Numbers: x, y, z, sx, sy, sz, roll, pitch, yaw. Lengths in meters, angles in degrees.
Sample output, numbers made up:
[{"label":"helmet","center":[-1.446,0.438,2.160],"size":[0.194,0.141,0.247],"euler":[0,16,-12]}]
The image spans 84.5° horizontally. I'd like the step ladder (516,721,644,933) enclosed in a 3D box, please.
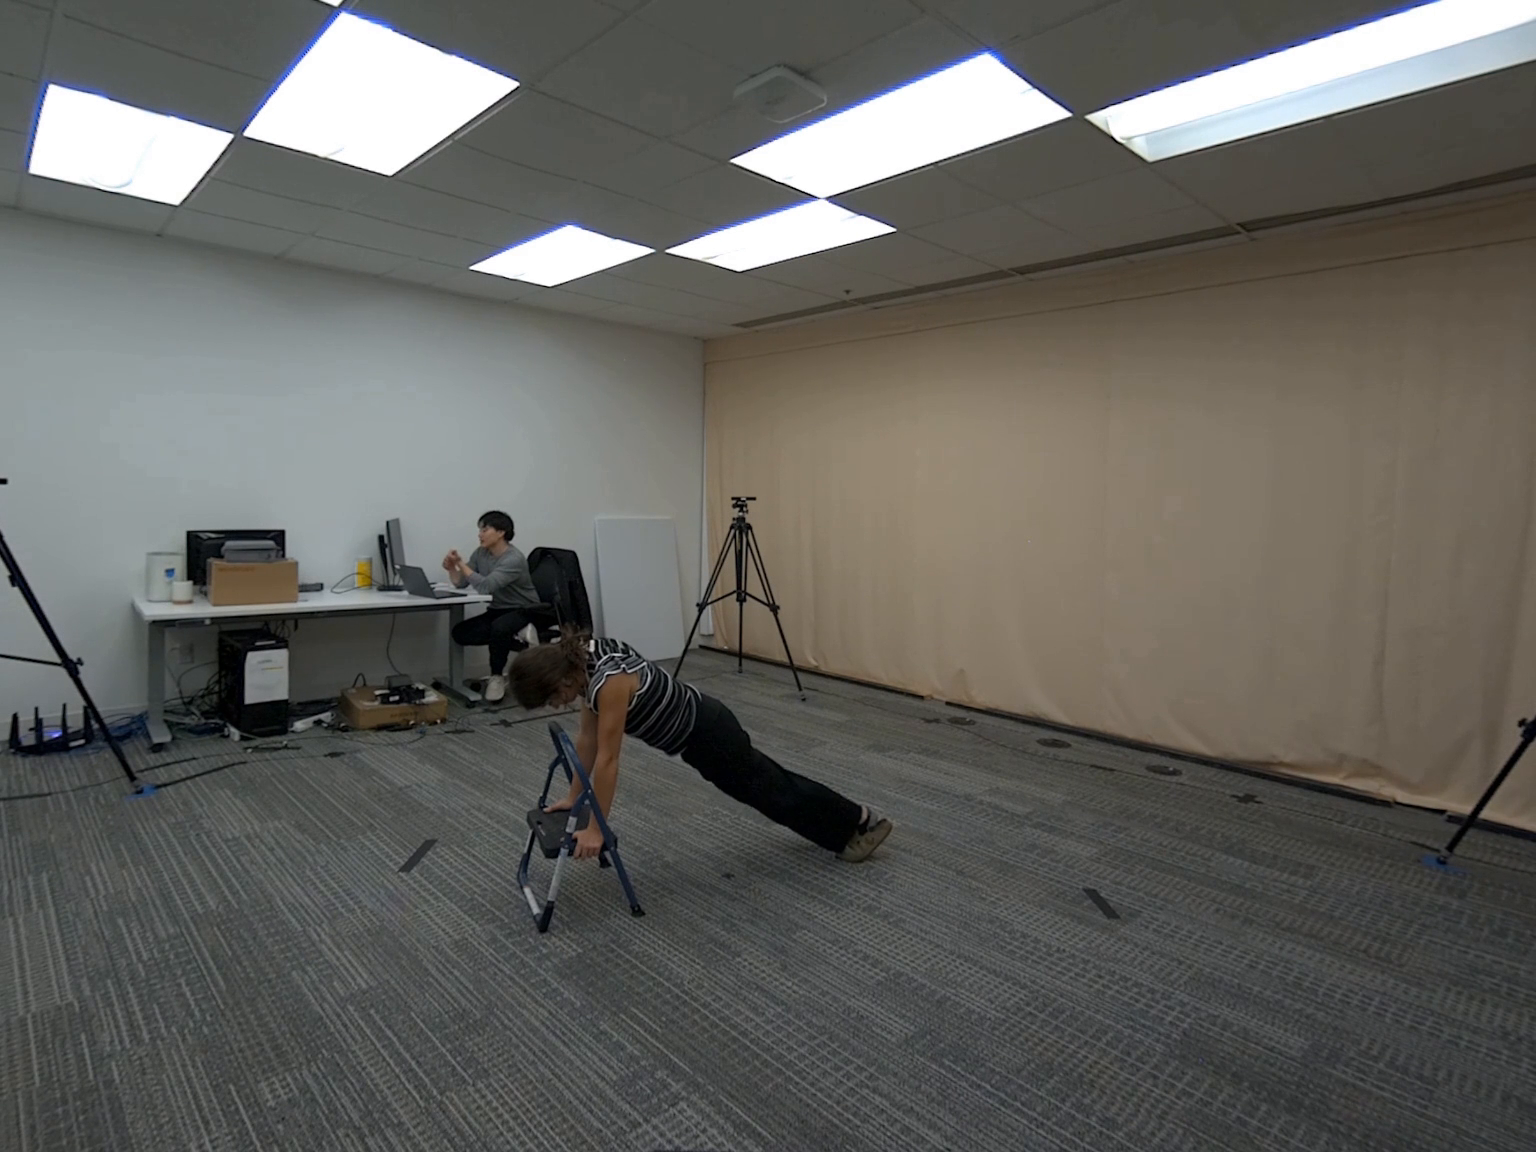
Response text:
[{"label":"step ladder","center":[-0.662,0.815,2.900],"size":[0.343,0.604,0.440],"euler":[-1,4,-27]}]
